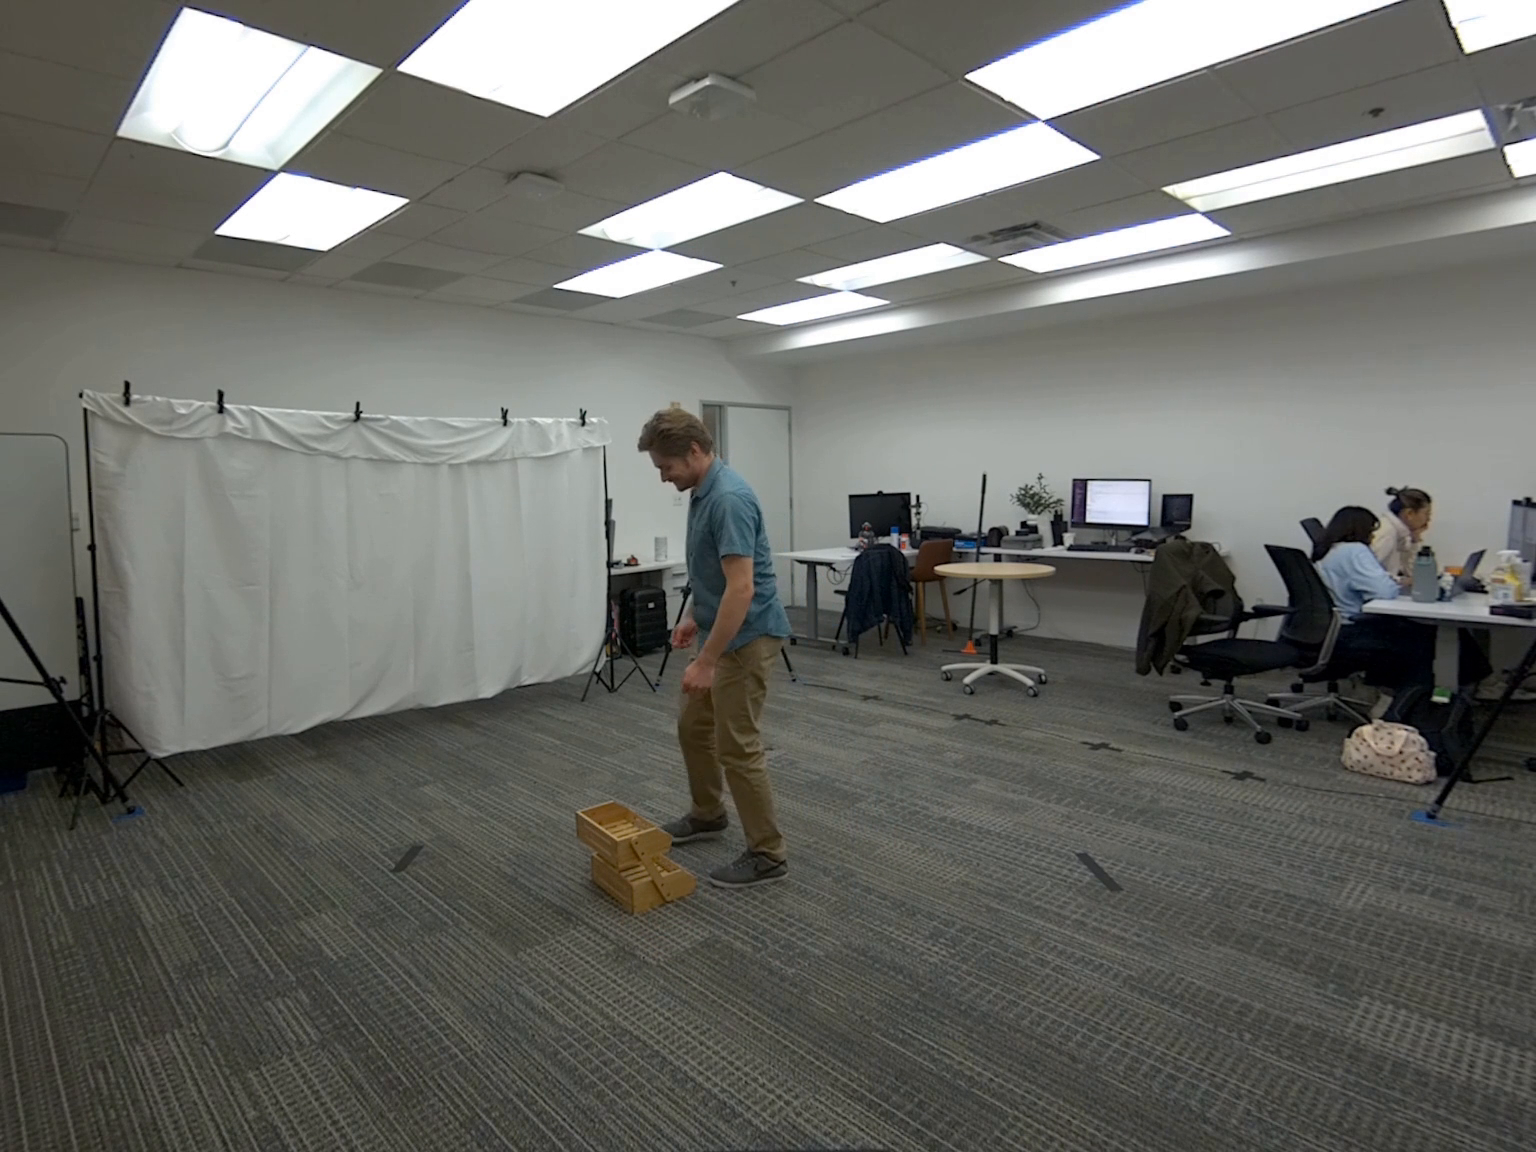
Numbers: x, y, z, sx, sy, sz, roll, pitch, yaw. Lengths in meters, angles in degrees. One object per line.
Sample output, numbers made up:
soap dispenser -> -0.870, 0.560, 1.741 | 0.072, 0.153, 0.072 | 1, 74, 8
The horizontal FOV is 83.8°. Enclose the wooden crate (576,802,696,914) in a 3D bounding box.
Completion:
wooden crate -> -0.449, 0.939, 2.931 | 0.294, 0.272, 0.334 | -6, 7, -37
